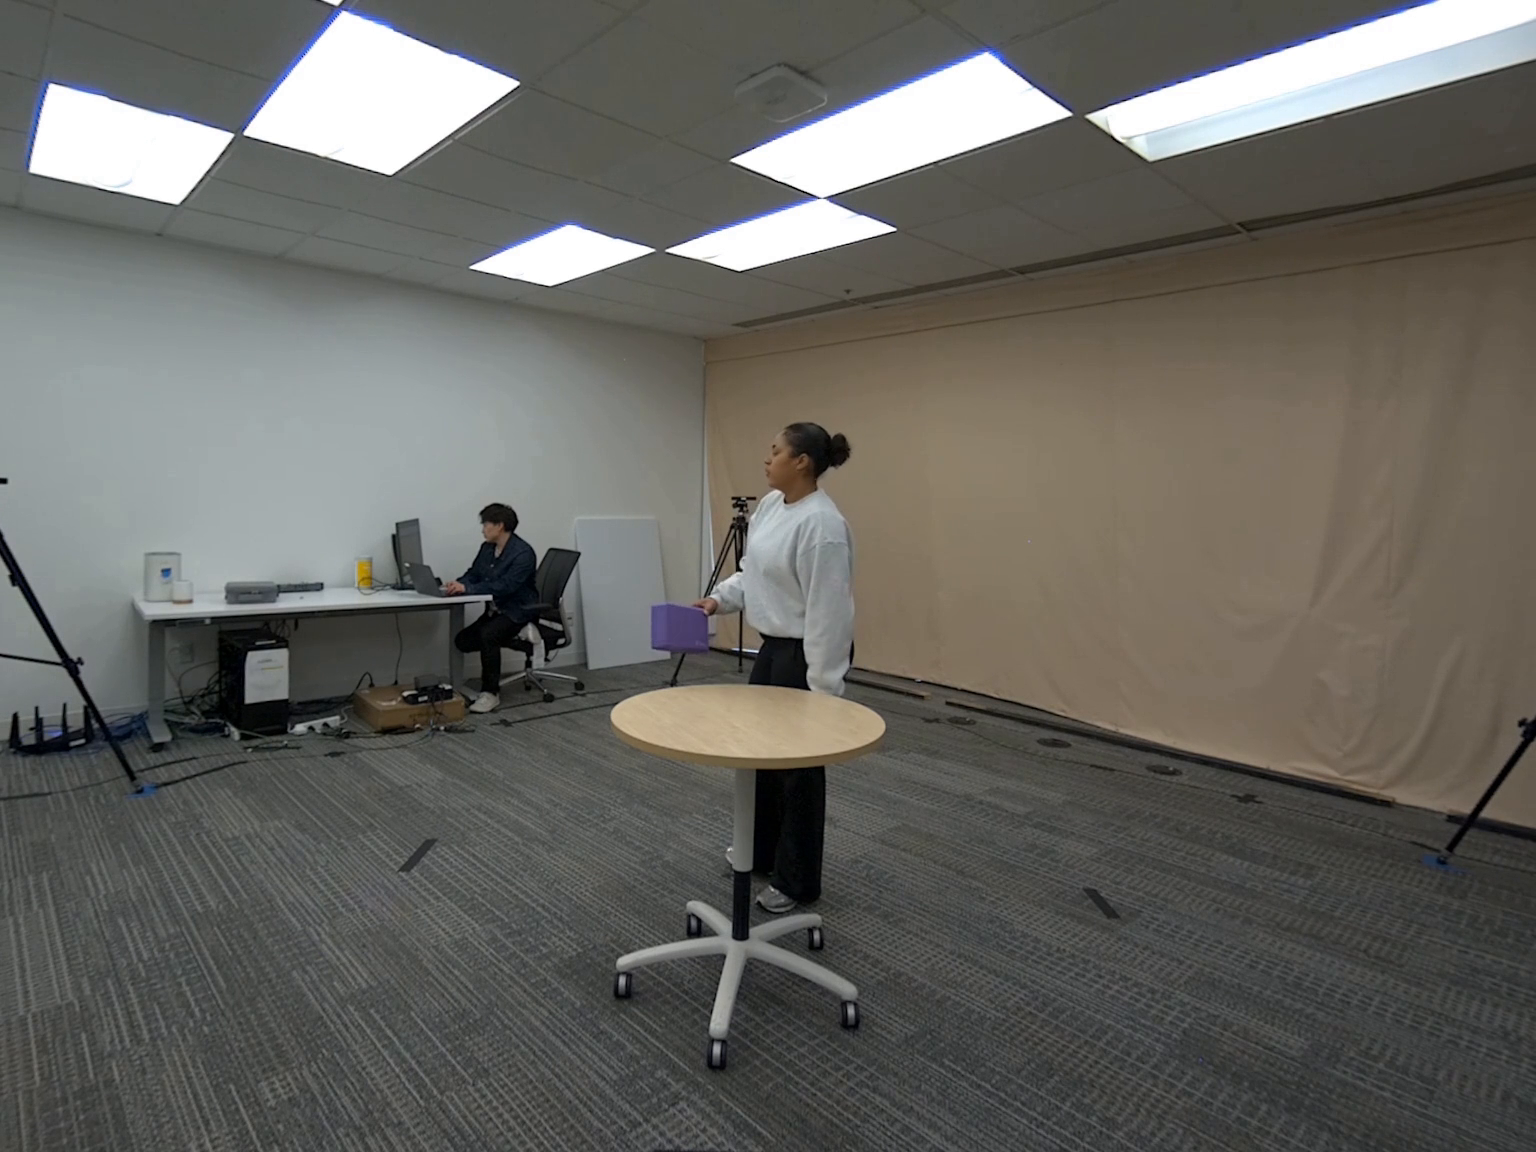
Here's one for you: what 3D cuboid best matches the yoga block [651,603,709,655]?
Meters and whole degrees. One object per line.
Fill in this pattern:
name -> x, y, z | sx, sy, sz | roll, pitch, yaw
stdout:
yoga block -> -0.285, 0.183, 2.796 | 0.078, 0.150, 0.223 | -11, -13, 29
